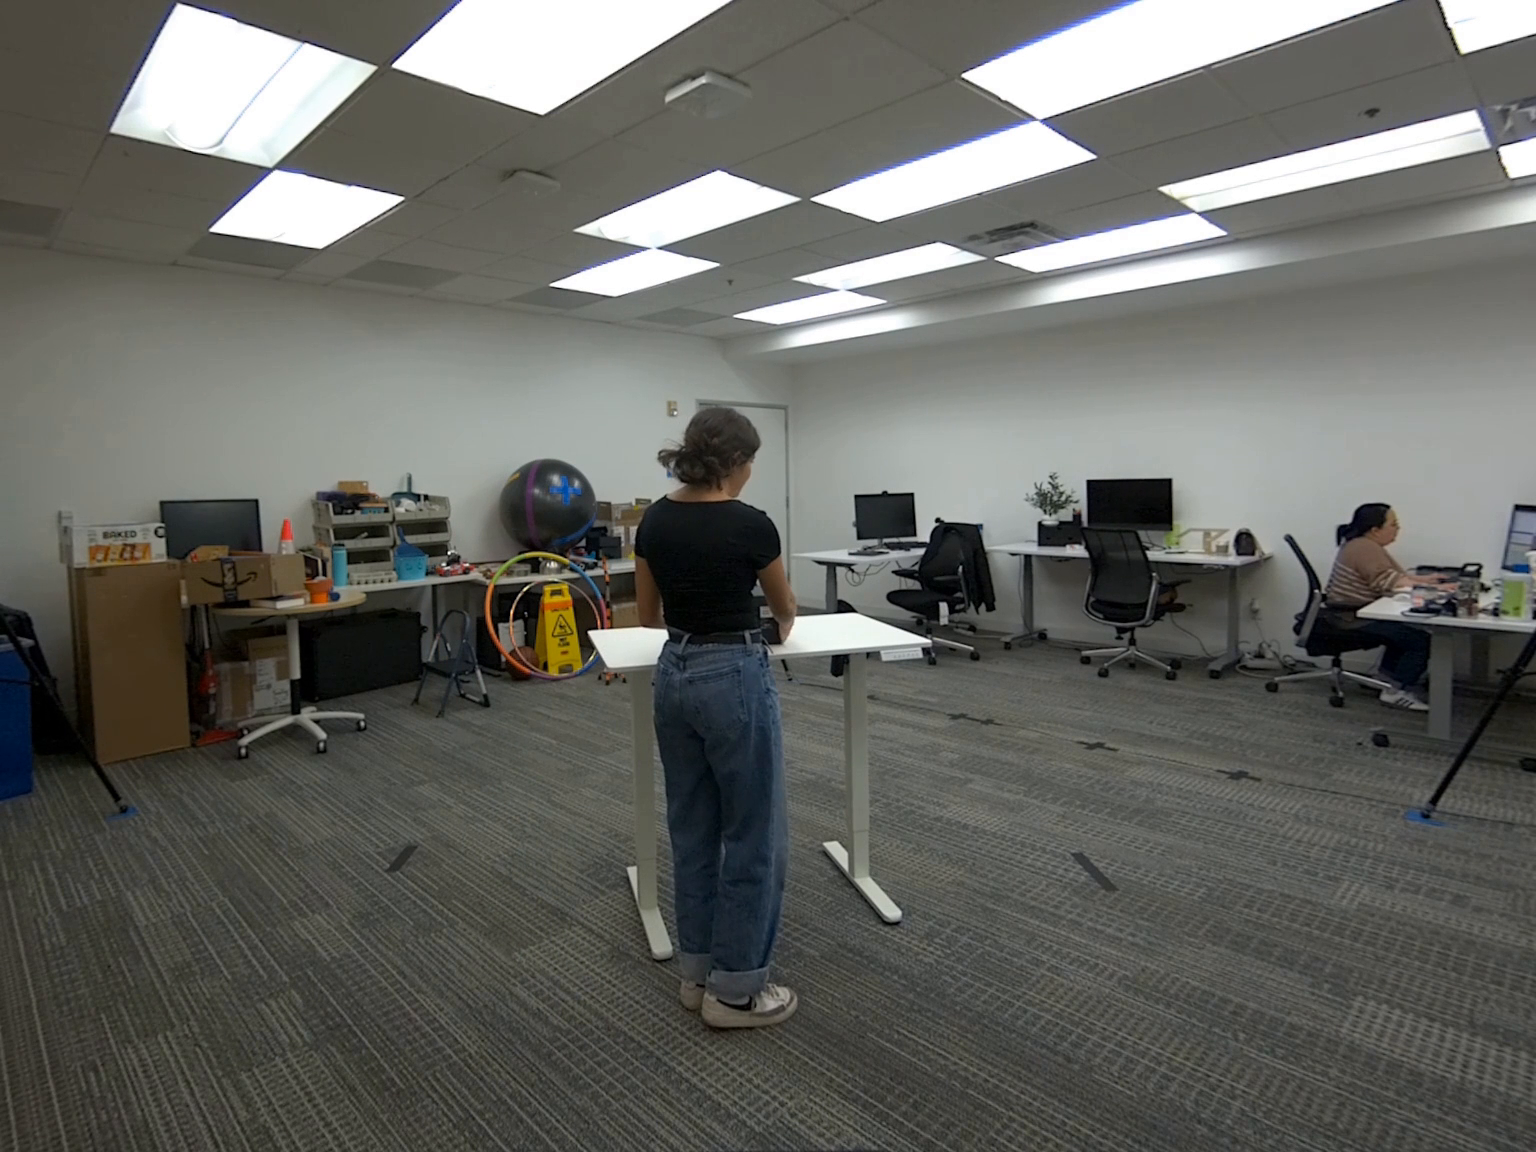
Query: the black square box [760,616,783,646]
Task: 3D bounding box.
[{"bbox_3d":[-0.085,0.126,2.740,0.215,0.155,0.231,-2,6,-9],"label":"black square box"}]
